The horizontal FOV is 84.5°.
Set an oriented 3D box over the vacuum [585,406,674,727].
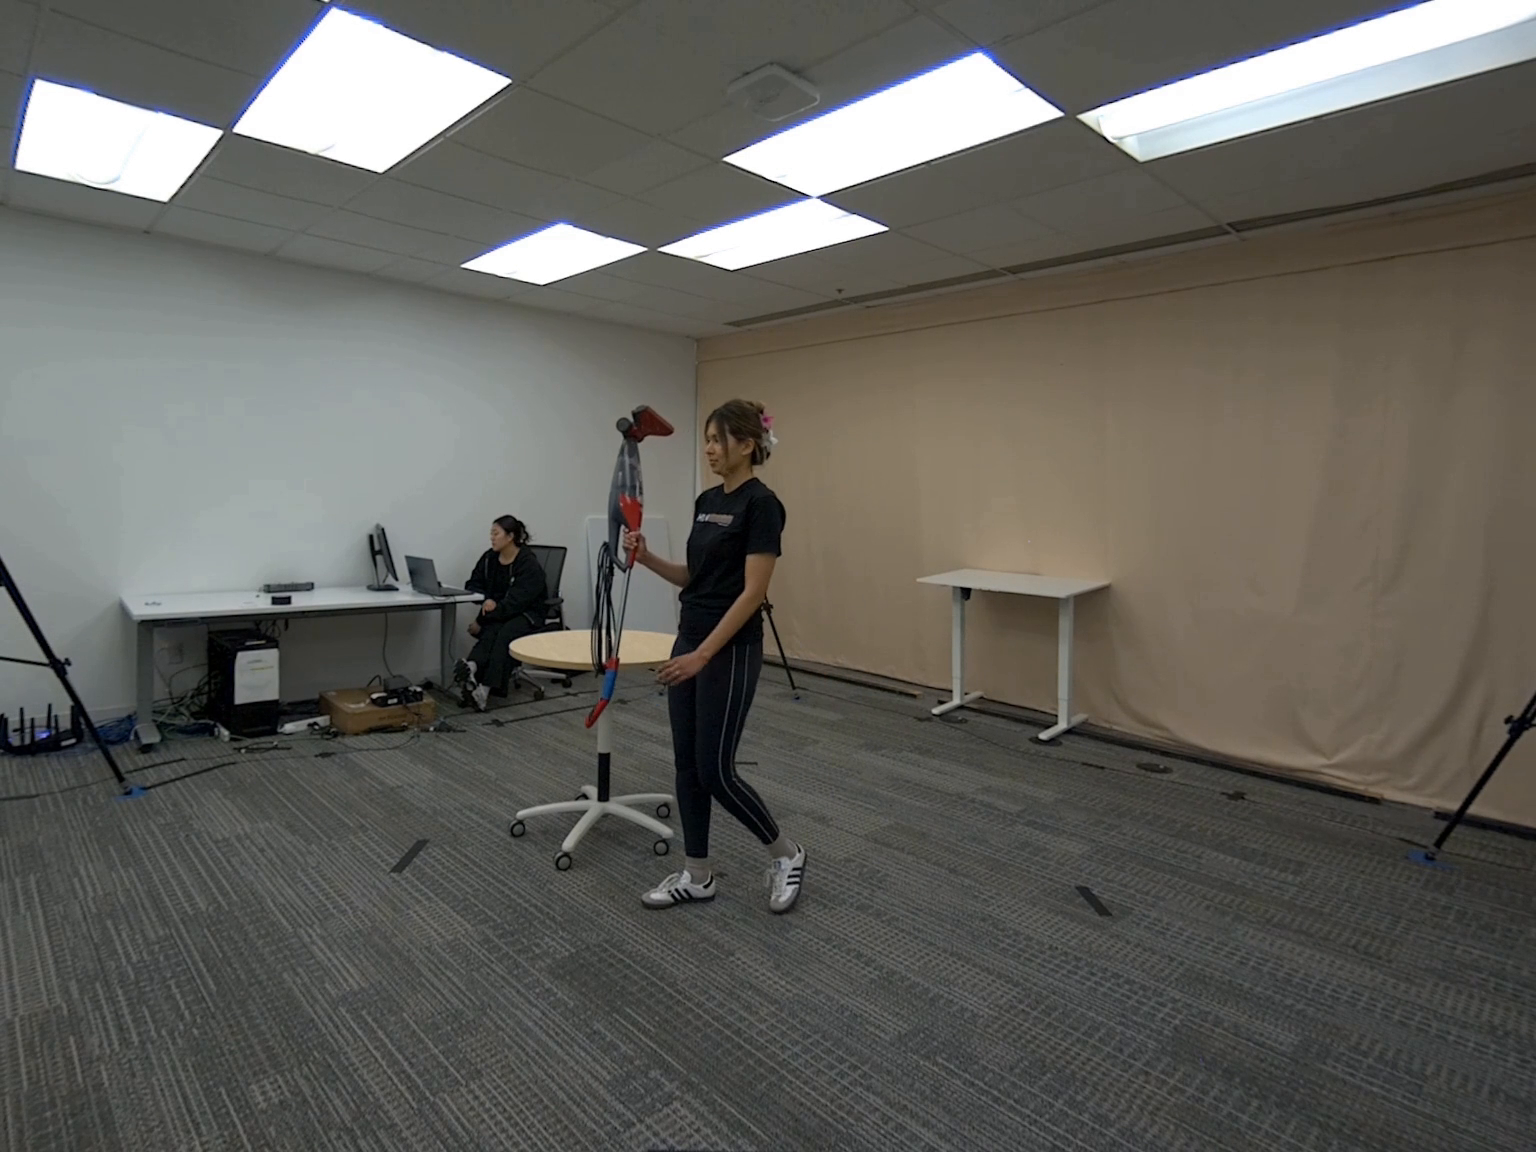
[{"bbox_3d":[-0.514,-0.021,2.843,0.147,1.055,0.246,4,-9,23],"label":"vacuum"}]
